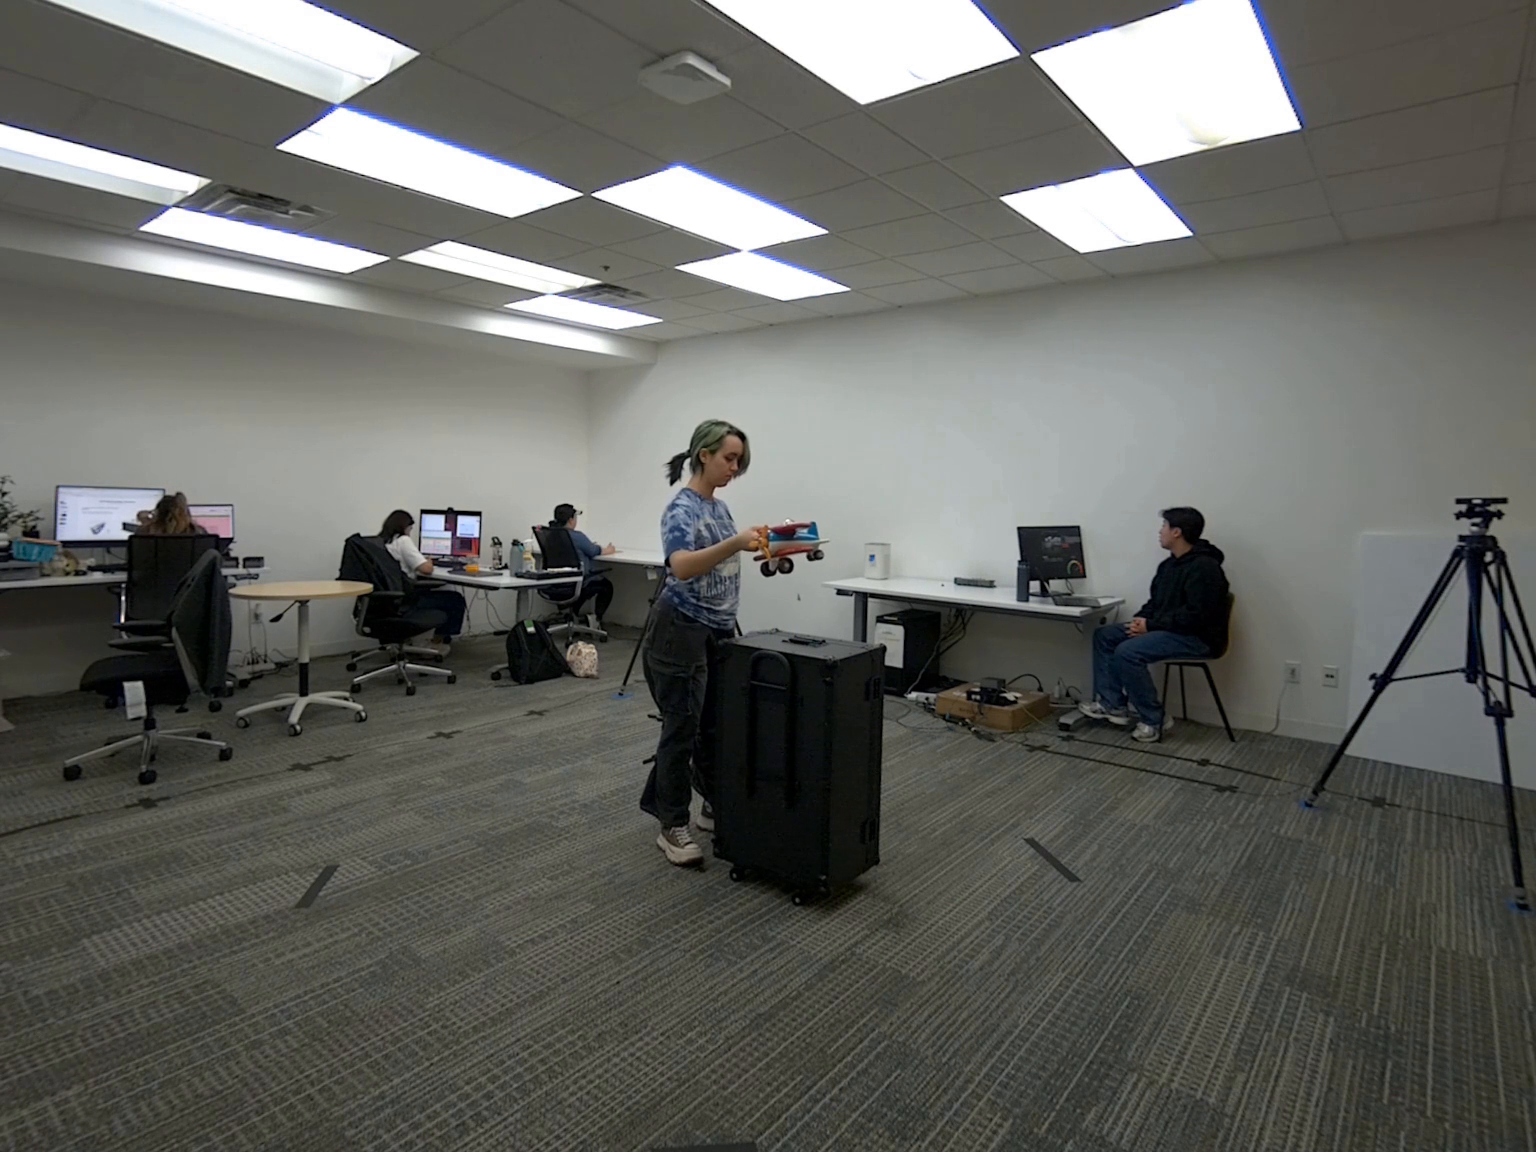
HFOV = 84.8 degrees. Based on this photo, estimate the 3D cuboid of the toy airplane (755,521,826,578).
[{"bbox_3d":[0.048,-0.100,2.824,0.255,0.156,0.256,-15,6,24],"label":"toy airplane"}]
